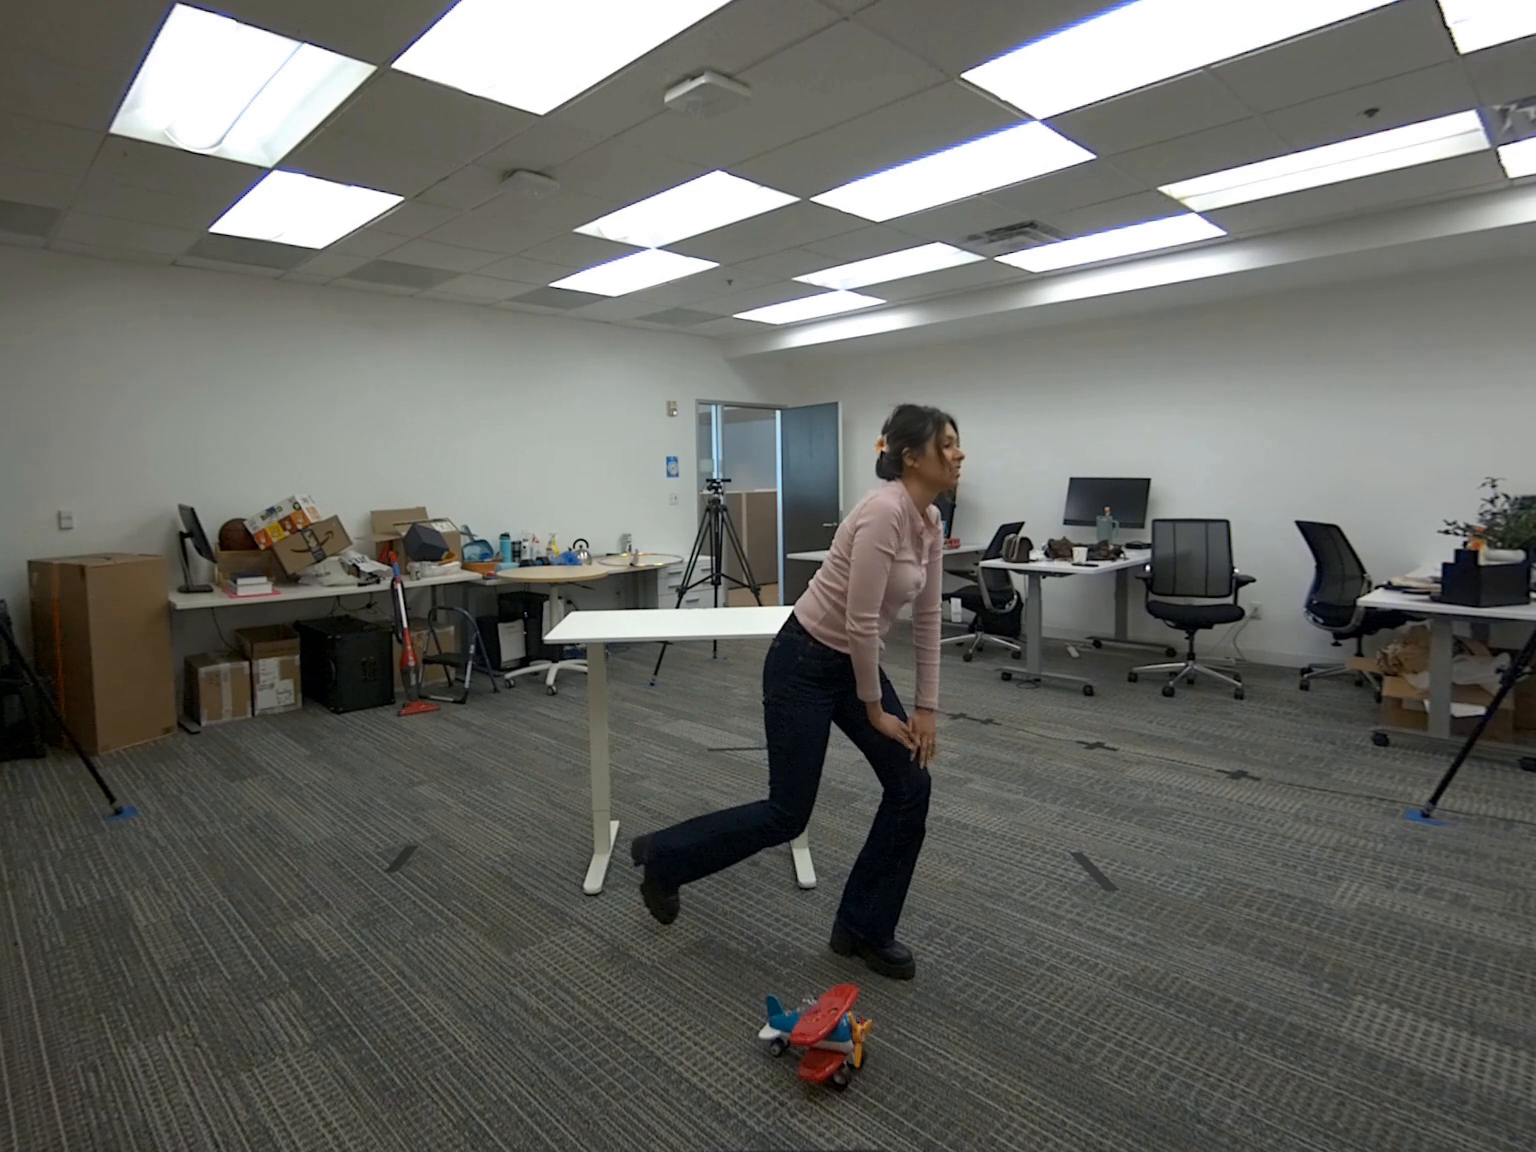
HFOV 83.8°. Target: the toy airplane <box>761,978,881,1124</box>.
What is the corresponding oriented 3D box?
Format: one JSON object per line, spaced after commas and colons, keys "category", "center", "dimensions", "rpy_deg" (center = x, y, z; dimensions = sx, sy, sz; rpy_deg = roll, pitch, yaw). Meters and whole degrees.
{"category": "toy airplane", "center": [0.122, 1.102, 2.010], "dimensions": [0.261, 0.155, 0.251], "rpy_deg": [0, 7, 5]}
